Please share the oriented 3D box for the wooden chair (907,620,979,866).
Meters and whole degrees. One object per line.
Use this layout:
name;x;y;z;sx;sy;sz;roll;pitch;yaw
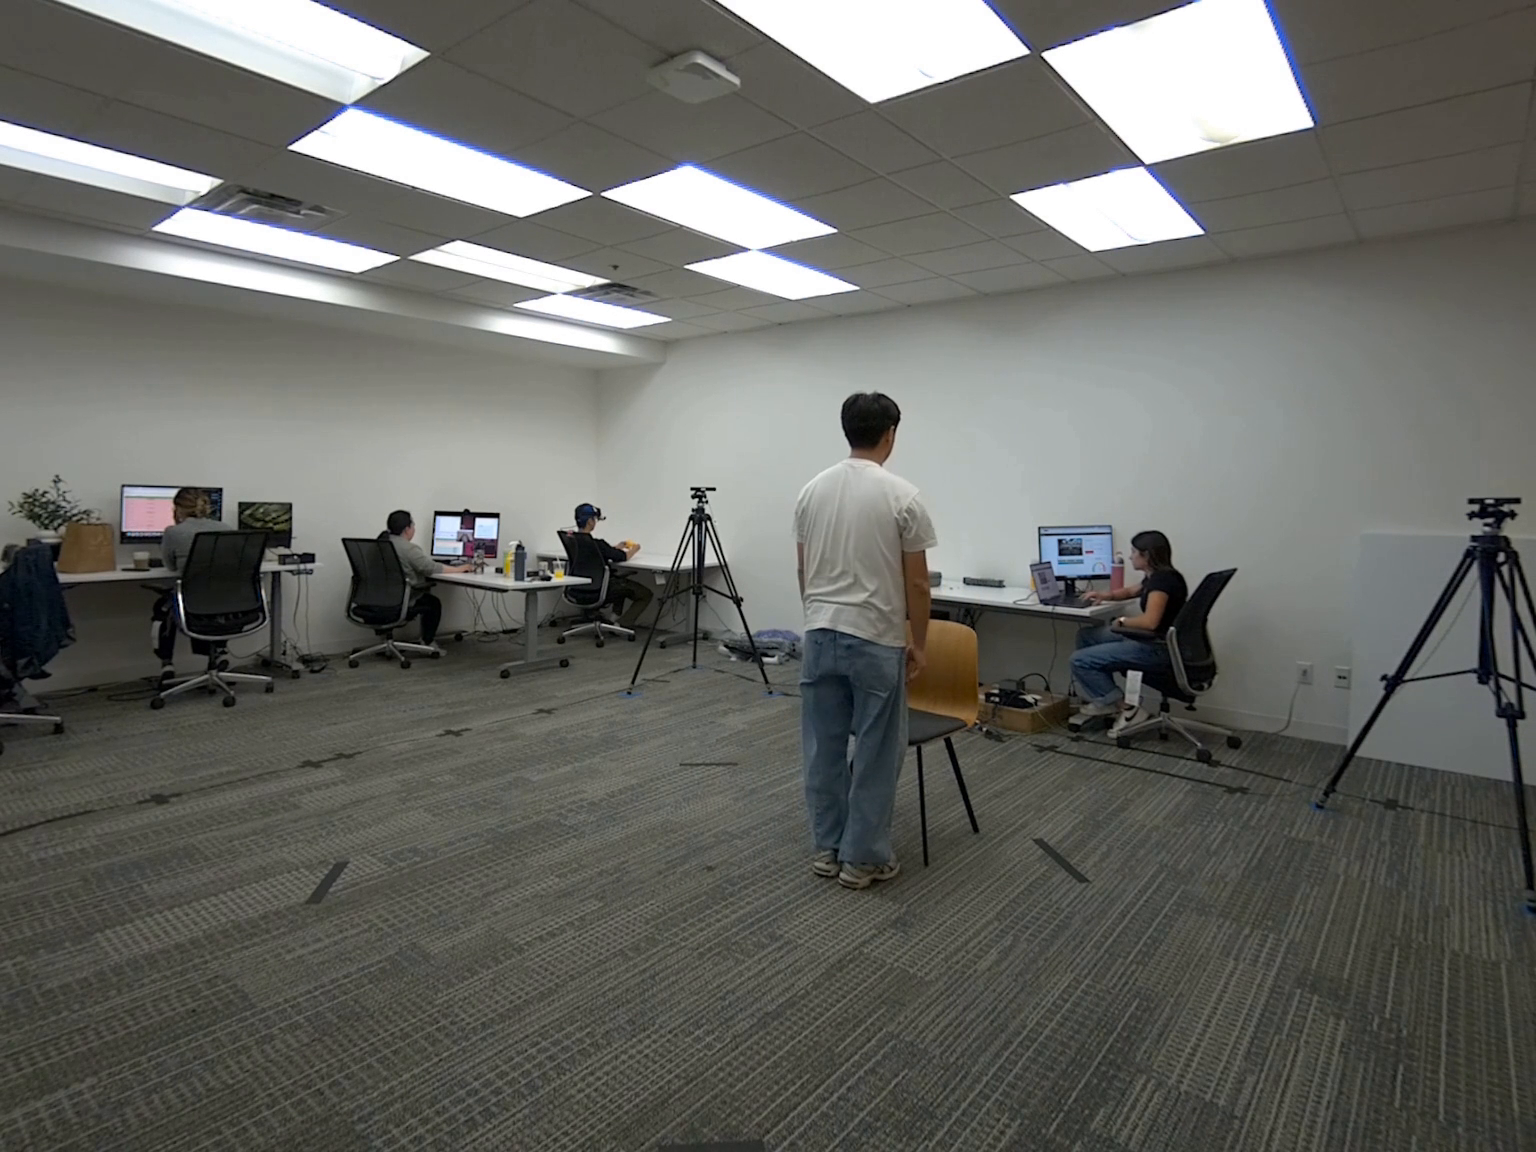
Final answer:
wooden chair;0.555;0.619;3.447;0.494;0.877;0.506;5;1;40
